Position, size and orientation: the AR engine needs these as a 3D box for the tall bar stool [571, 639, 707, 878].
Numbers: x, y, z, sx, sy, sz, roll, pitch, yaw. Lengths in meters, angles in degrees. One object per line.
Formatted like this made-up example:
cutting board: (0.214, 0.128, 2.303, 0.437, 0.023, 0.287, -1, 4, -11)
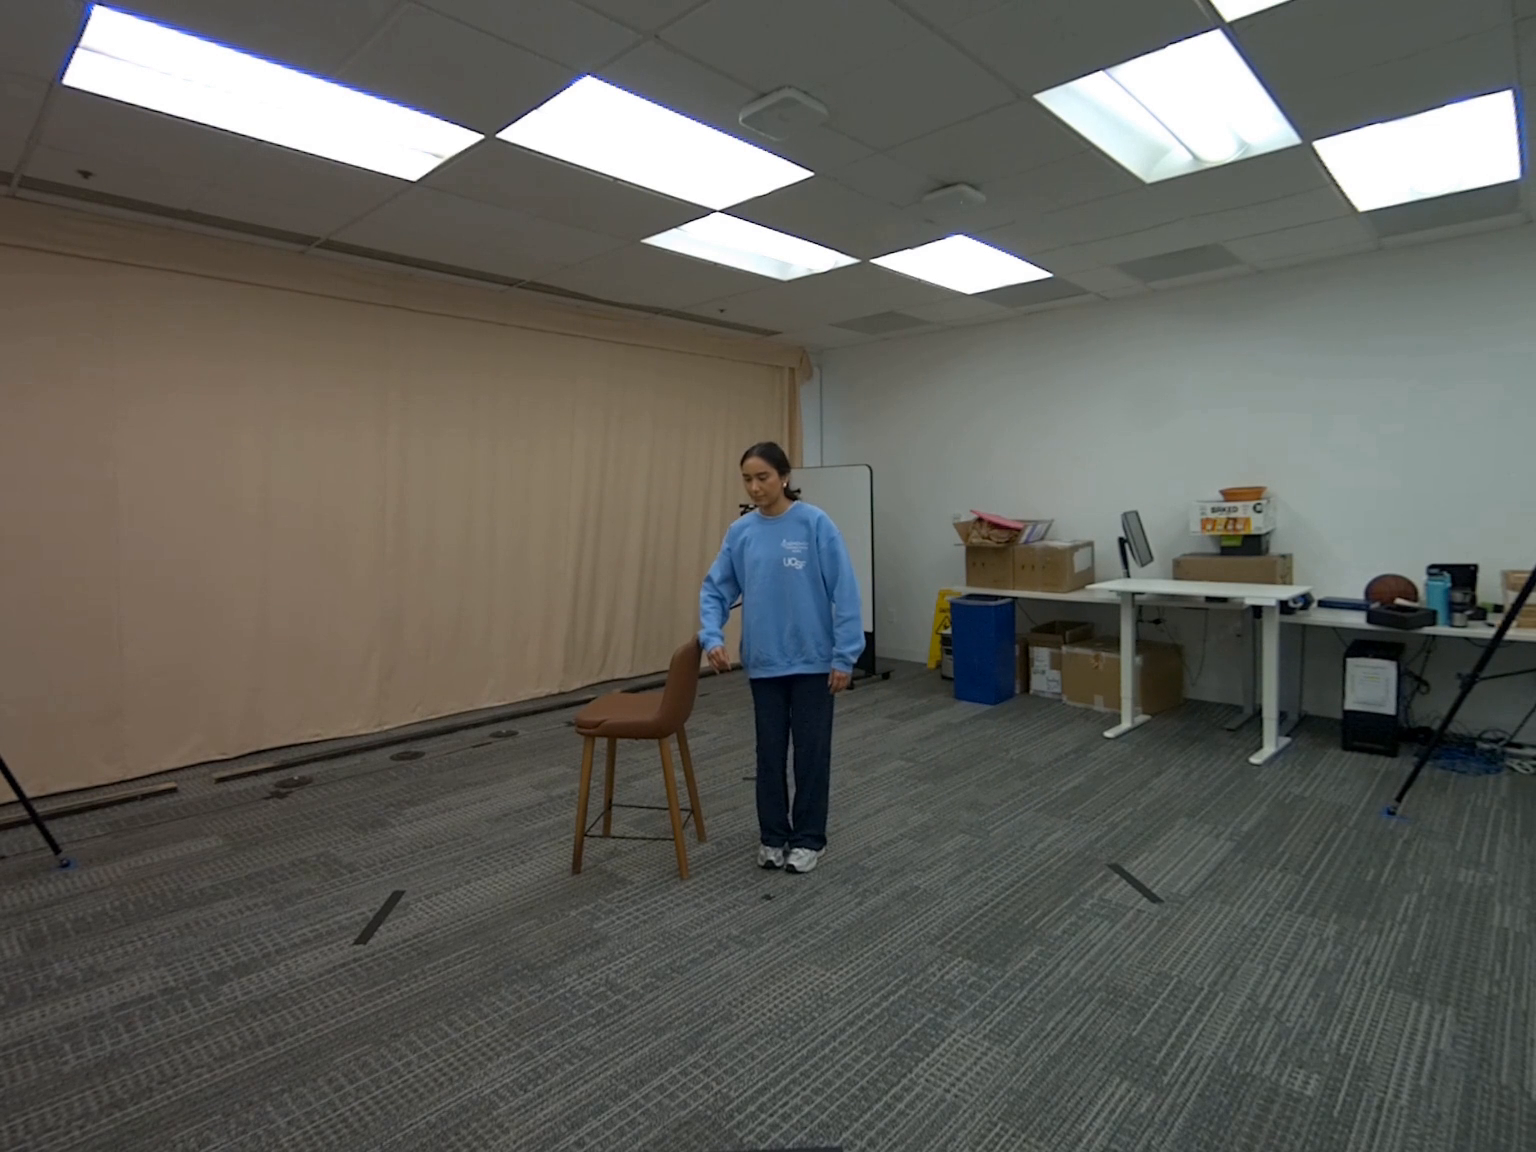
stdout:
tall bar stool: (-0.502, 0.686, 3.342, 0.473, 0.888, 0.452, 1, 4, 10)
